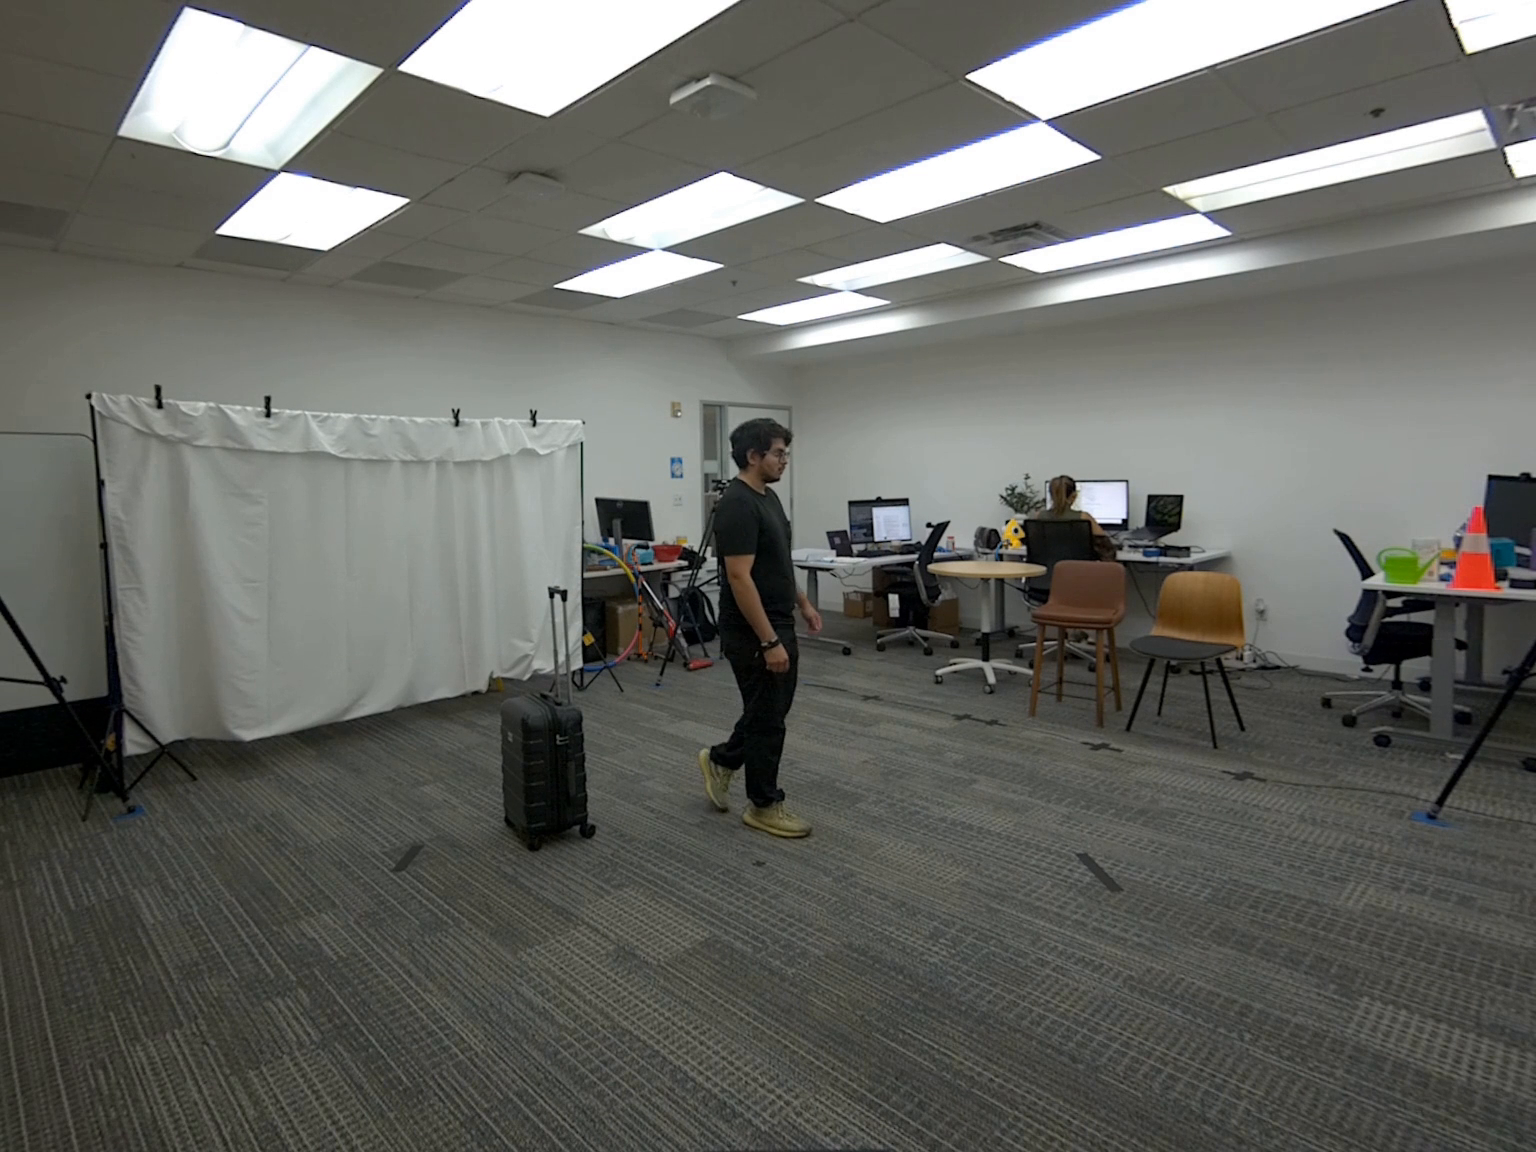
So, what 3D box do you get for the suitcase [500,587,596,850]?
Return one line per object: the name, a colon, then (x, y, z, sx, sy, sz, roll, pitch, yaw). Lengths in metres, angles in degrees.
suitcase: (-0.906, 0.555, 3.396, 0.251, 0.974, 0.395, -5, 6, -30)
